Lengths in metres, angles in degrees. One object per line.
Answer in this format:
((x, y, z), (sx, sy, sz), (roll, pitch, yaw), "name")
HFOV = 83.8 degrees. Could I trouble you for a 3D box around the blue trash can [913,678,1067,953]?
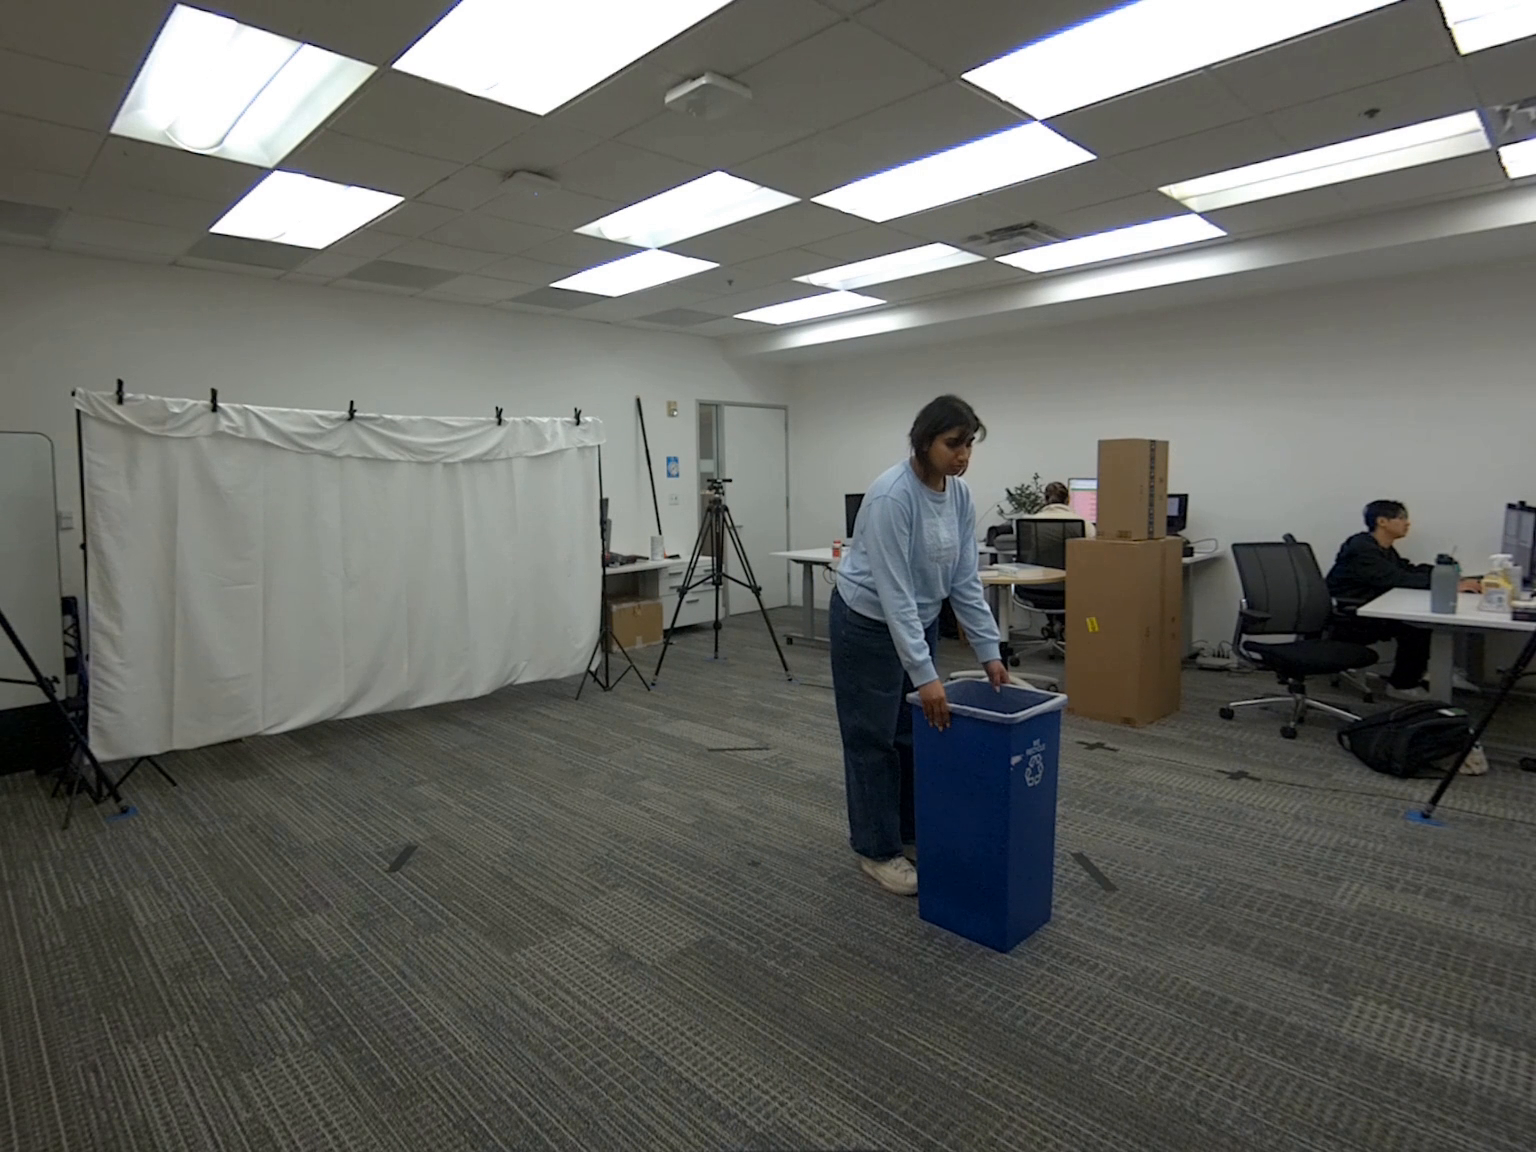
((0.688, 0.723, 2.677), (0.364, 0.711, 0.390), (-5, 6, -45), "blue trash can")
